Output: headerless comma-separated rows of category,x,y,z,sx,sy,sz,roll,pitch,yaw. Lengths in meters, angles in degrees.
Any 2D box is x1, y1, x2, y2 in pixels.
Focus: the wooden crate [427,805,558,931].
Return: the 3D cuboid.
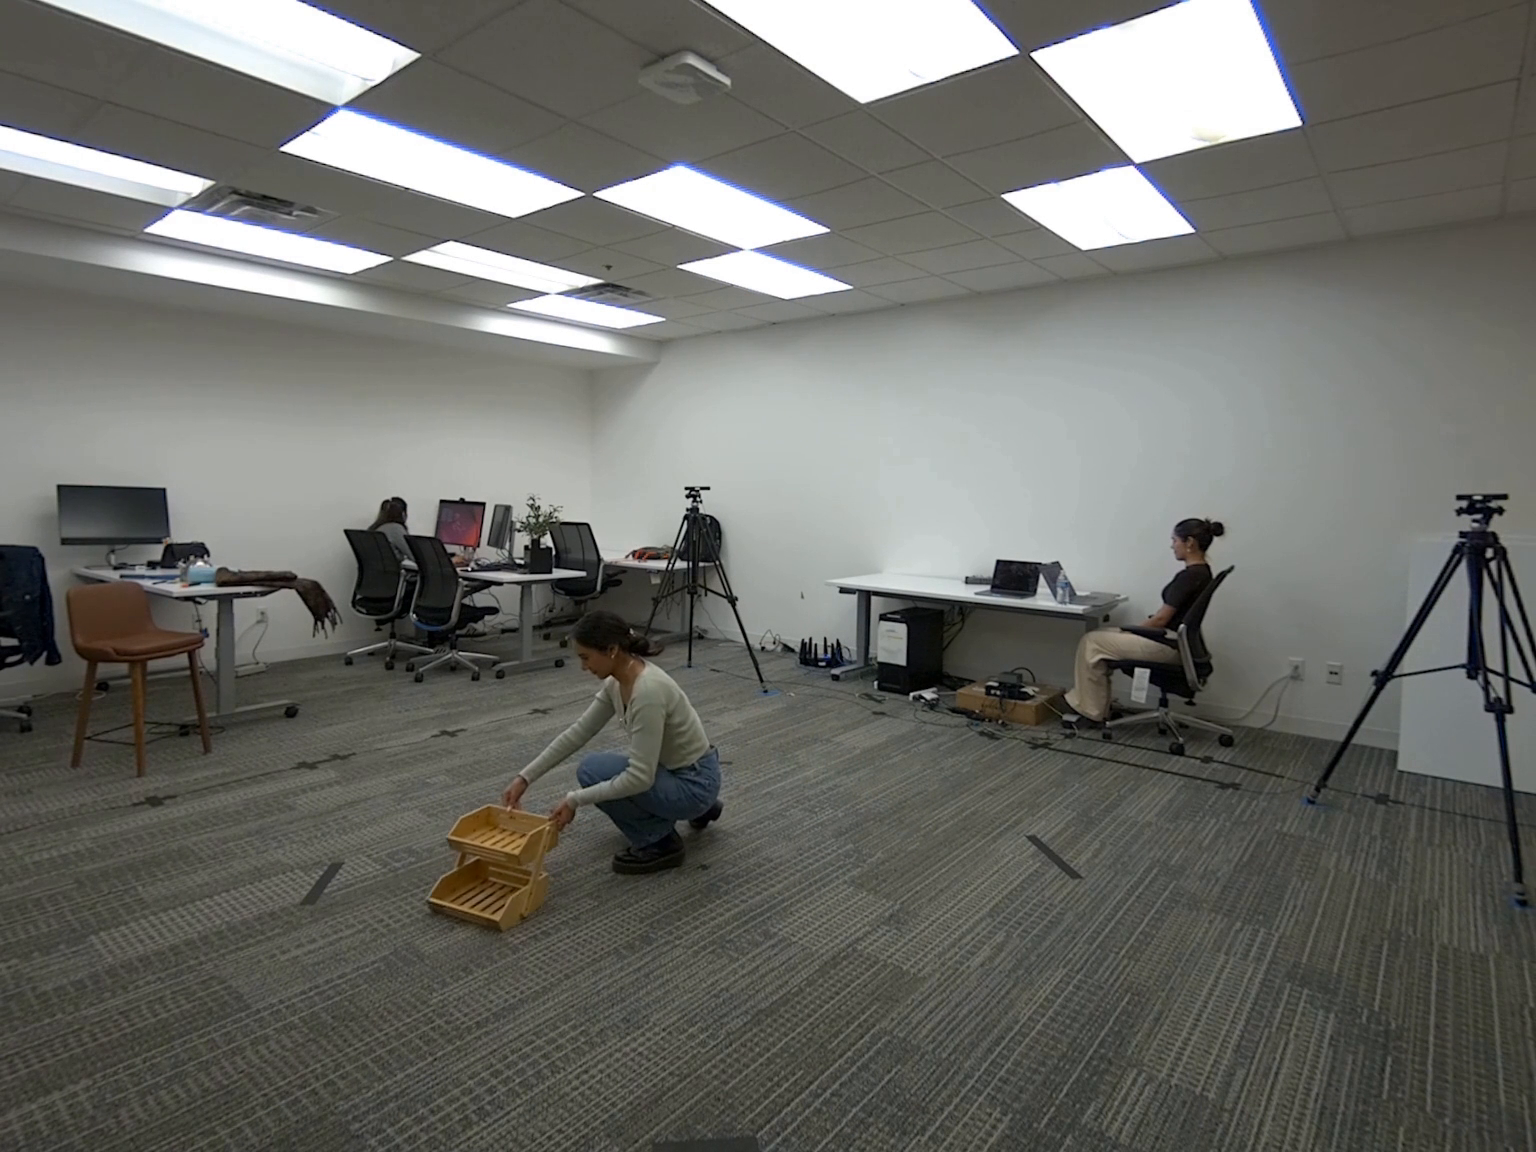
wooden crate,-0.921,0.959,2.813,0.333,0.272,0.295,1,4,24
